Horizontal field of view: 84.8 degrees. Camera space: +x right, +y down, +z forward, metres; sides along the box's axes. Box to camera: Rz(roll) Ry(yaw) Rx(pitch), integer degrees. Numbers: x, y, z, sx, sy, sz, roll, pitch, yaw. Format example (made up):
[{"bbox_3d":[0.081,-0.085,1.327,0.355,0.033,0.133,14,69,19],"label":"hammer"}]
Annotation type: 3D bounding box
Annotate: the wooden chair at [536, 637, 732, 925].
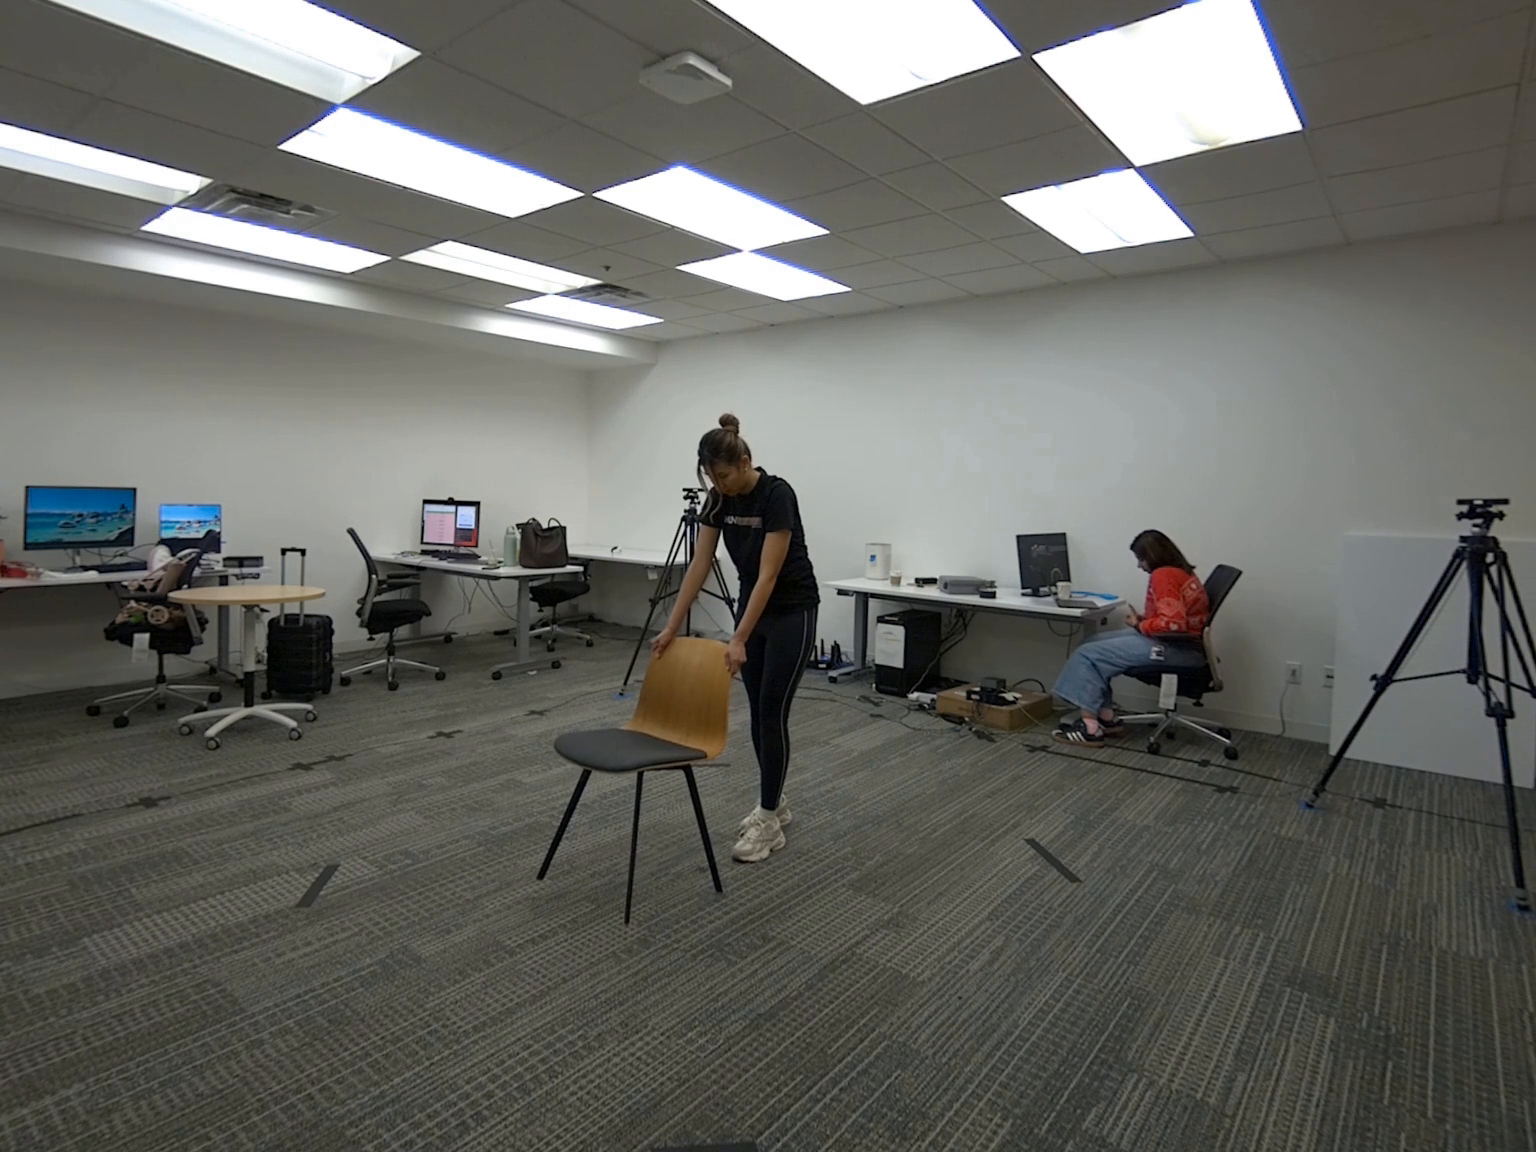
[{"bbox_3d":[-0.445,0.635,2.915,0.494,0.881,0.504,4,-7,39],"label":"wooden chair"}]
